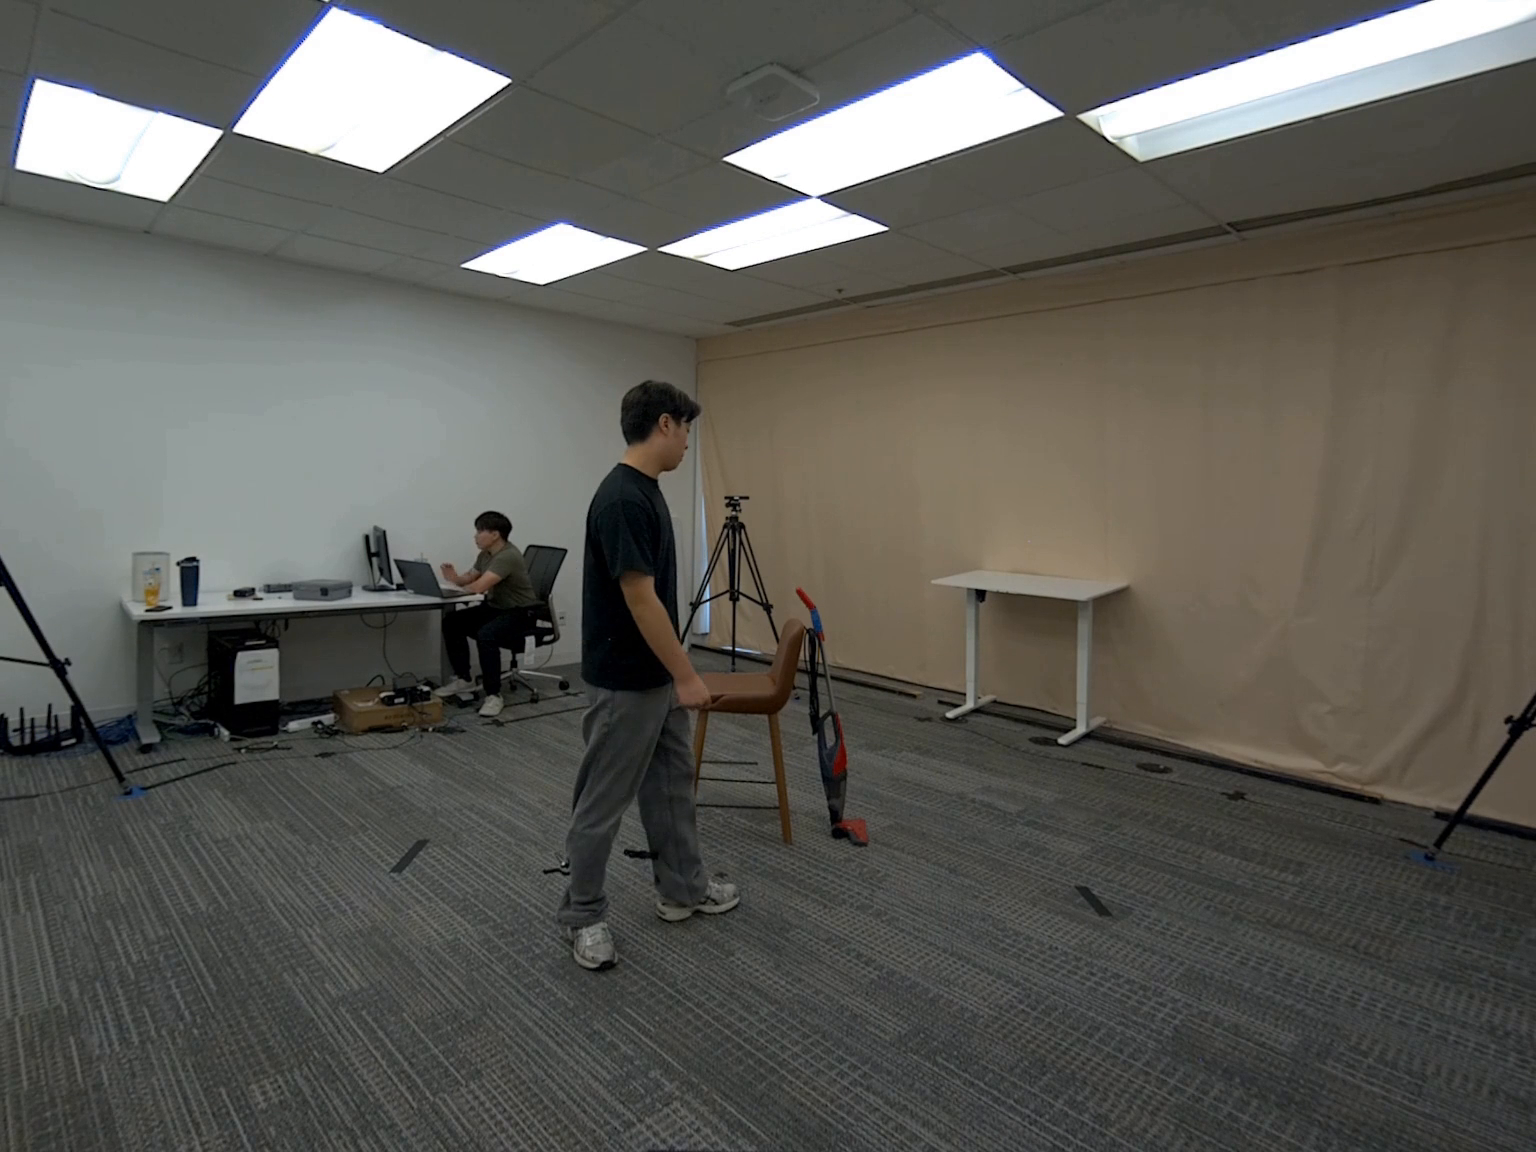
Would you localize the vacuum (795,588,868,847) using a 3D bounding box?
[{"bbox_3d":[0.235,0.565,3.509,0.144,1.048,0.253,-11,2,1],"label":"vacuum"}]
